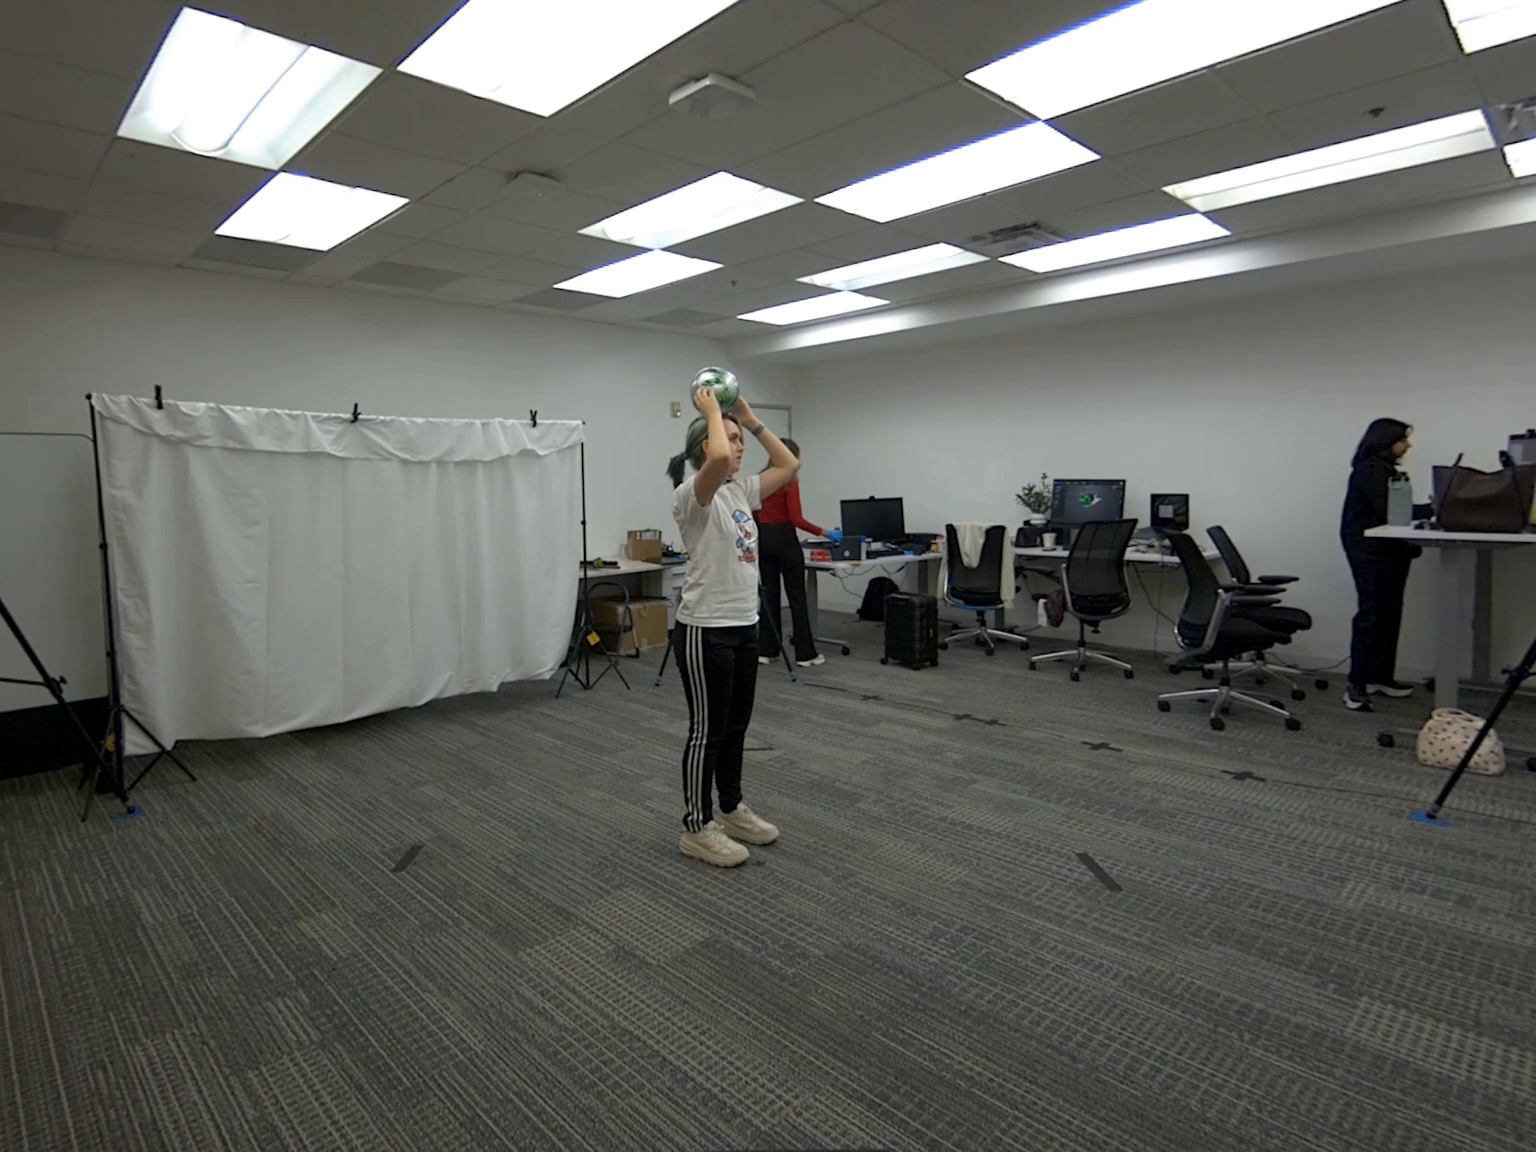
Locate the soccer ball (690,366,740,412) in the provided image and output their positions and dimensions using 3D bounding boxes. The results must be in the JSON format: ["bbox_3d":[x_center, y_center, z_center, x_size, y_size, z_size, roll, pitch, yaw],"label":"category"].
[{"bbox_3d":[-0.198,-0.688,3.191,0.187,0.187,0.188,-1,5,-2],"label":"soccer ball"}]
